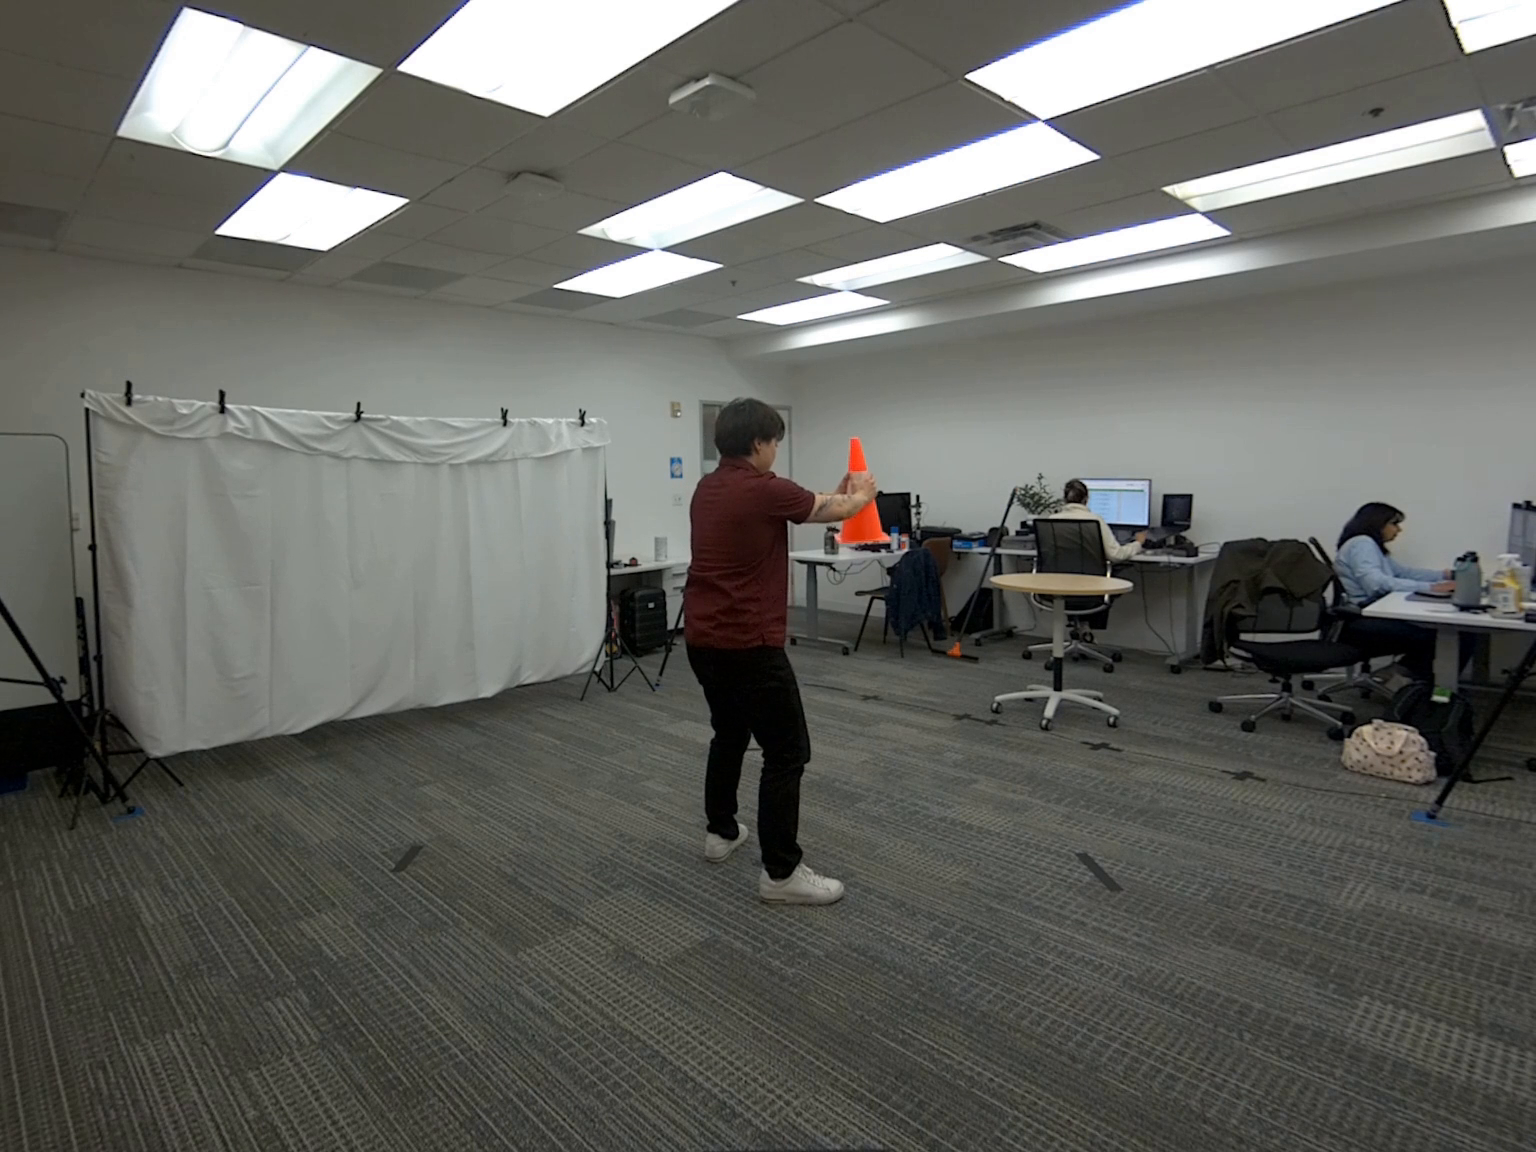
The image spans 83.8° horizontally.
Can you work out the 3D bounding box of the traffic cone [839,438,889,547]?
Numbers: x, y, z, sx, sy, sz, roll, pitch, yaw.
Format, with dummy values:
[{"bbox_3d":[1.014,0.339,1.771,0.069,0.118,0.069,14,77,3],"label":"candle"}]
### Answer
[{"bbox_3d":[0.345,-0.328,3.238,0.209,0.381,0.200,-3,7,25],"label":"traffic cone"}]
